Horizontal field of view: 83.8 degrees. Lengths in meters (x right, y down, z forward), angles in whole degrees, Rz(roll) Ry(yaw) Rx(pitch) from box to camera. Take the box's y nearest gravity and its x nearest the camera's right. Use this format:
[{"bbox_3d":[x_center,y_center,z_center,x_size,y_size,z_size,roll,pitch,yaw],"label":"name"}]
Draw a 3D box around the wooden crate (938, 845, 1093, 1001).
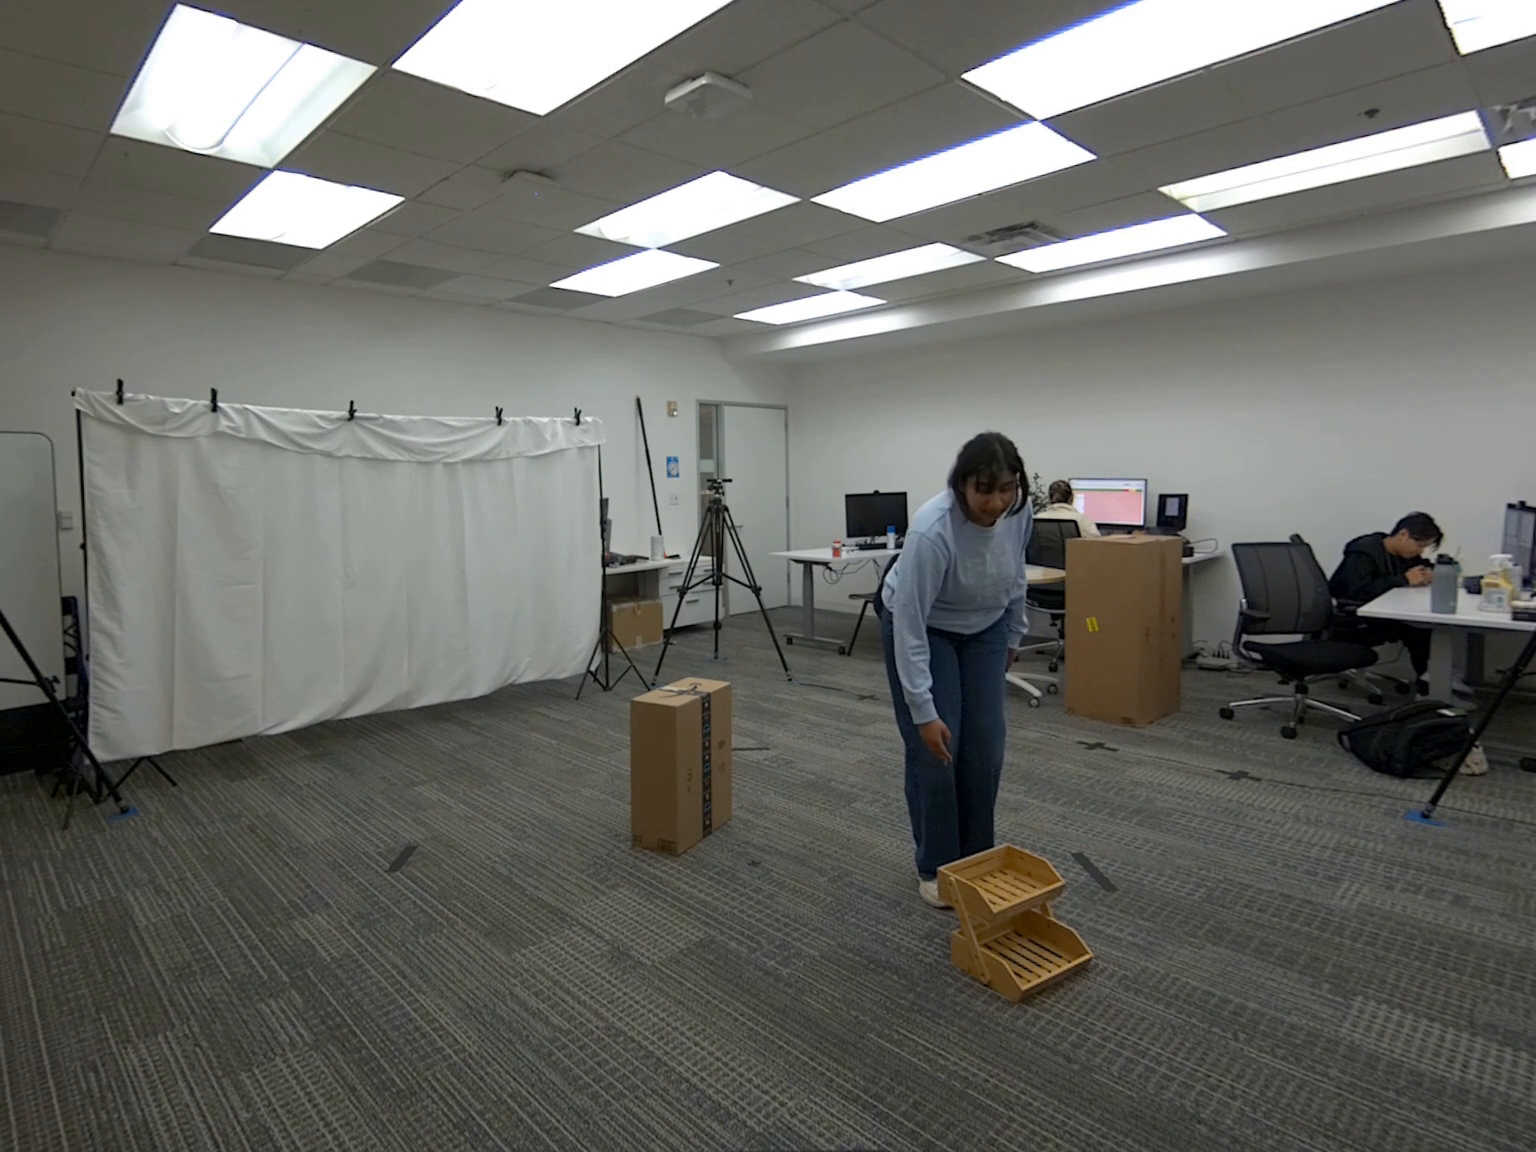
[{"bbox_3d":[0.713,0.982,2.436,0.316,0.272,0.310,-5,6,-33],"label":"wooden crate"}]
